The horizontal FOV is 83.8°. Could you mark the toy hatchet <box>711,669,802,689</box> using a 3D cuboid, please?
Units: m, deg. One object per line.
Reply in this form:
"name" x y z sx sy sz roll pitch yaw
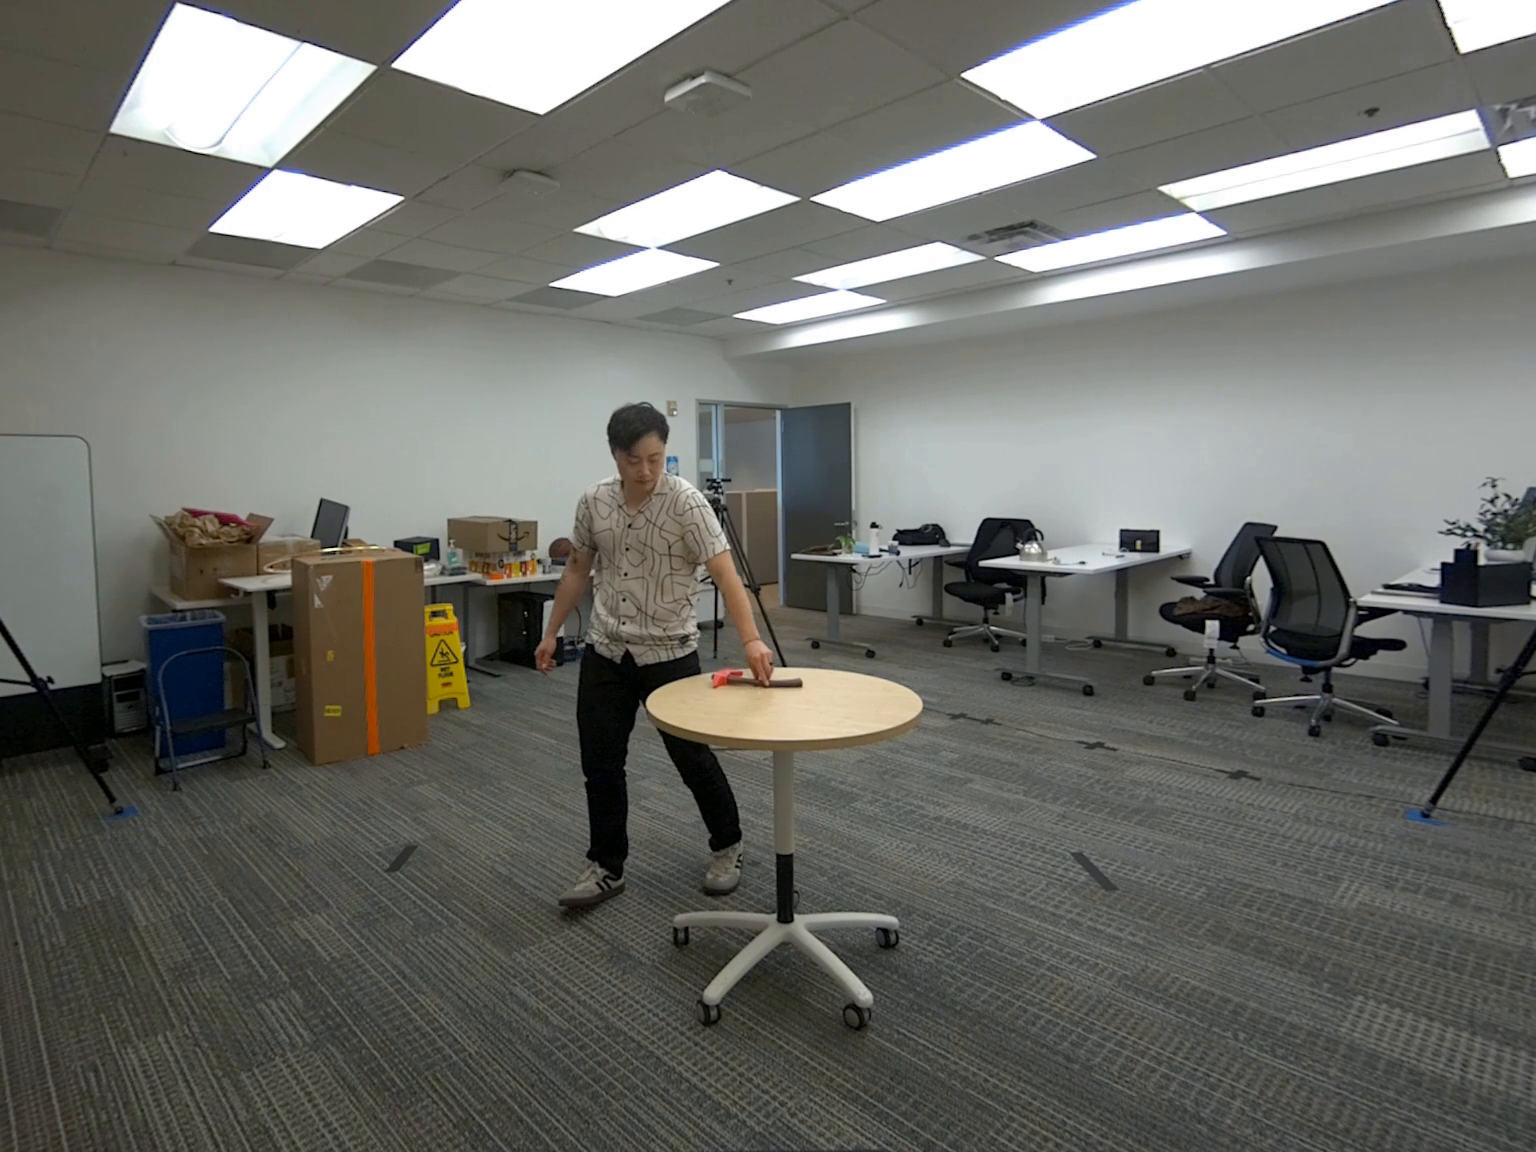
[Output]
"toy hatchet" -0.033 0.308 2.570 0.270 0.029 0.132 0 13 0
